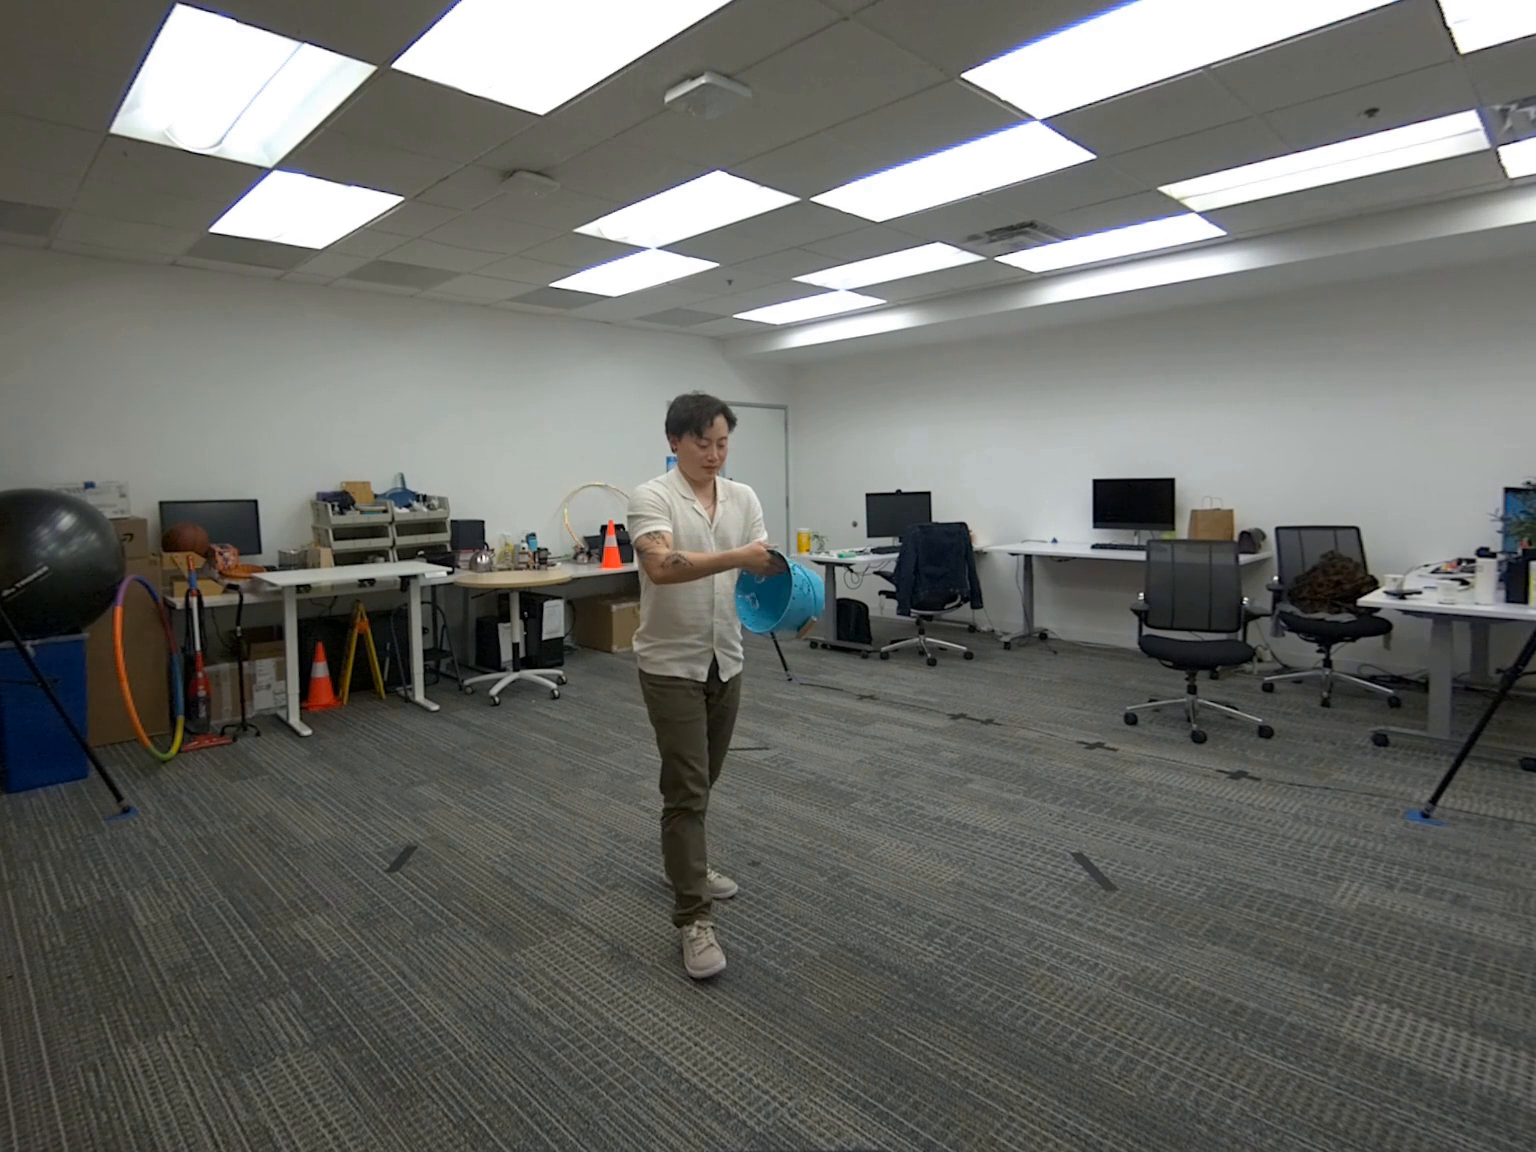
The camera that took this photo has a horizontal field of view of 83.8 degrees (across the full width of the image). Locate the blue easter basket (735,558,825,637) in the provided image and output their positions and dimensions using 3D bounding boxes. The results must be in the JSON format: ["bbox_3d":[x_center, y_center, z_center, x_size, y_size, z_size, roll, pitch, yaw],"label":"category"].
[{"bbox_3d":[0.045,0.060,2.355,0.150,0.245,0.251,21,-10,-39],"label":"blue easter basket"}]
